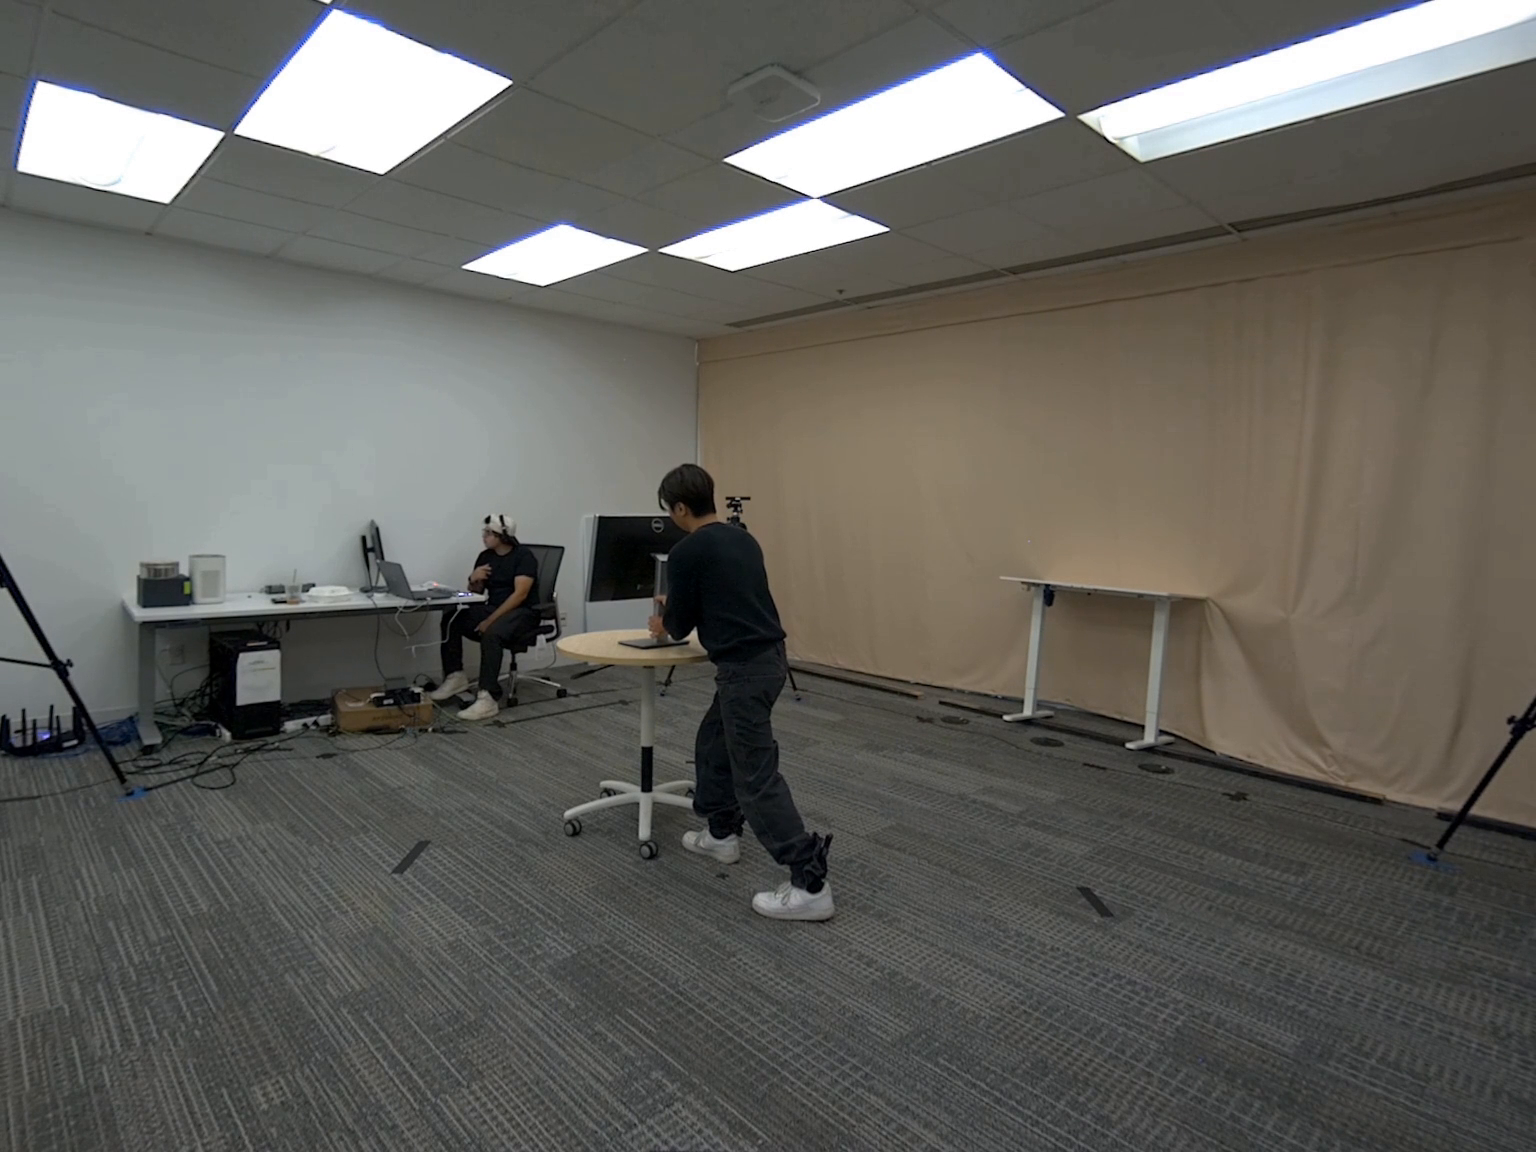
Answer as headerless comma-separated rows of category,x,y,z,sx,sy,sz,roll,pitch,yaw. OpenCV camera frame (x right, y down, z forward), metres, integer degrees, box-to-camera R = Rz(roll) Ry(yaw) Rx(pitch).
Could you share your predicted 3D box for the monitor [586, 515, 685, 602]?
monitor,-0.480,0.011,3.509,0.518,0.516,0.178,-5,1,-42
